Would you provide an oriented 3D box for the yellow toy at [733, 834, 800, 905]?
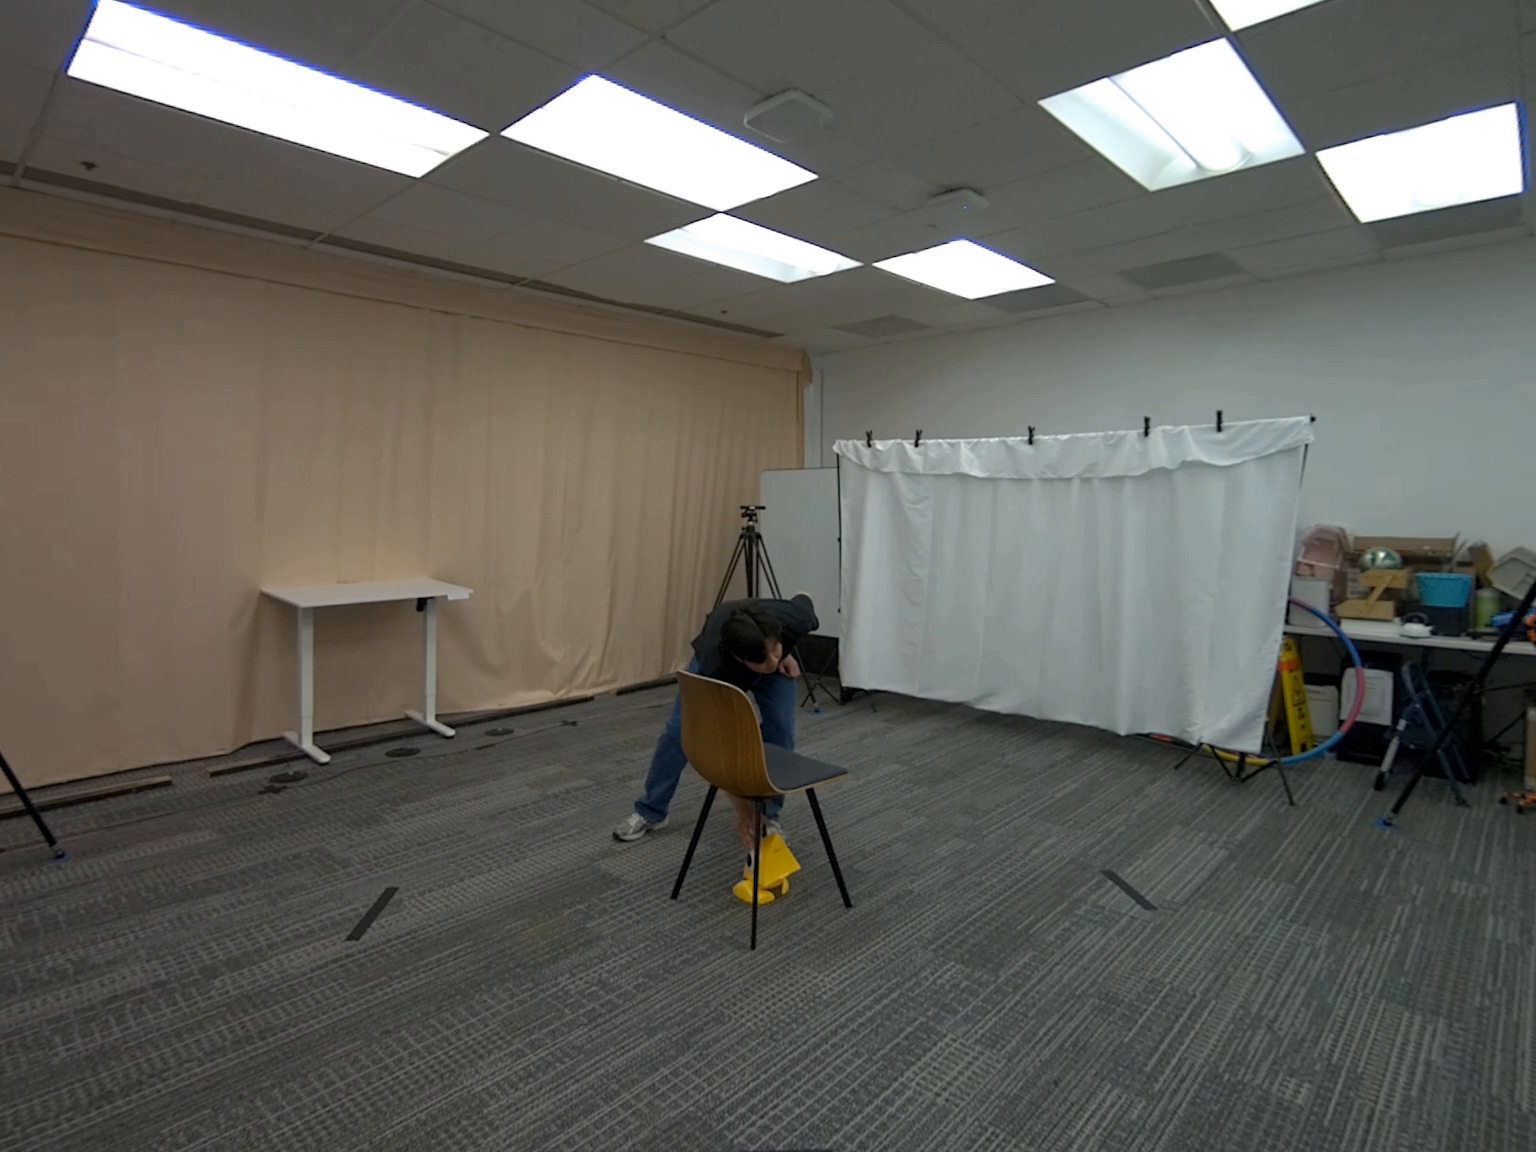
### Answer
[{"bbox_3d":[-0.017,1.019,3.036,0.199,0.230,0.198,3,5,41],"label":"yellow toy"}]
